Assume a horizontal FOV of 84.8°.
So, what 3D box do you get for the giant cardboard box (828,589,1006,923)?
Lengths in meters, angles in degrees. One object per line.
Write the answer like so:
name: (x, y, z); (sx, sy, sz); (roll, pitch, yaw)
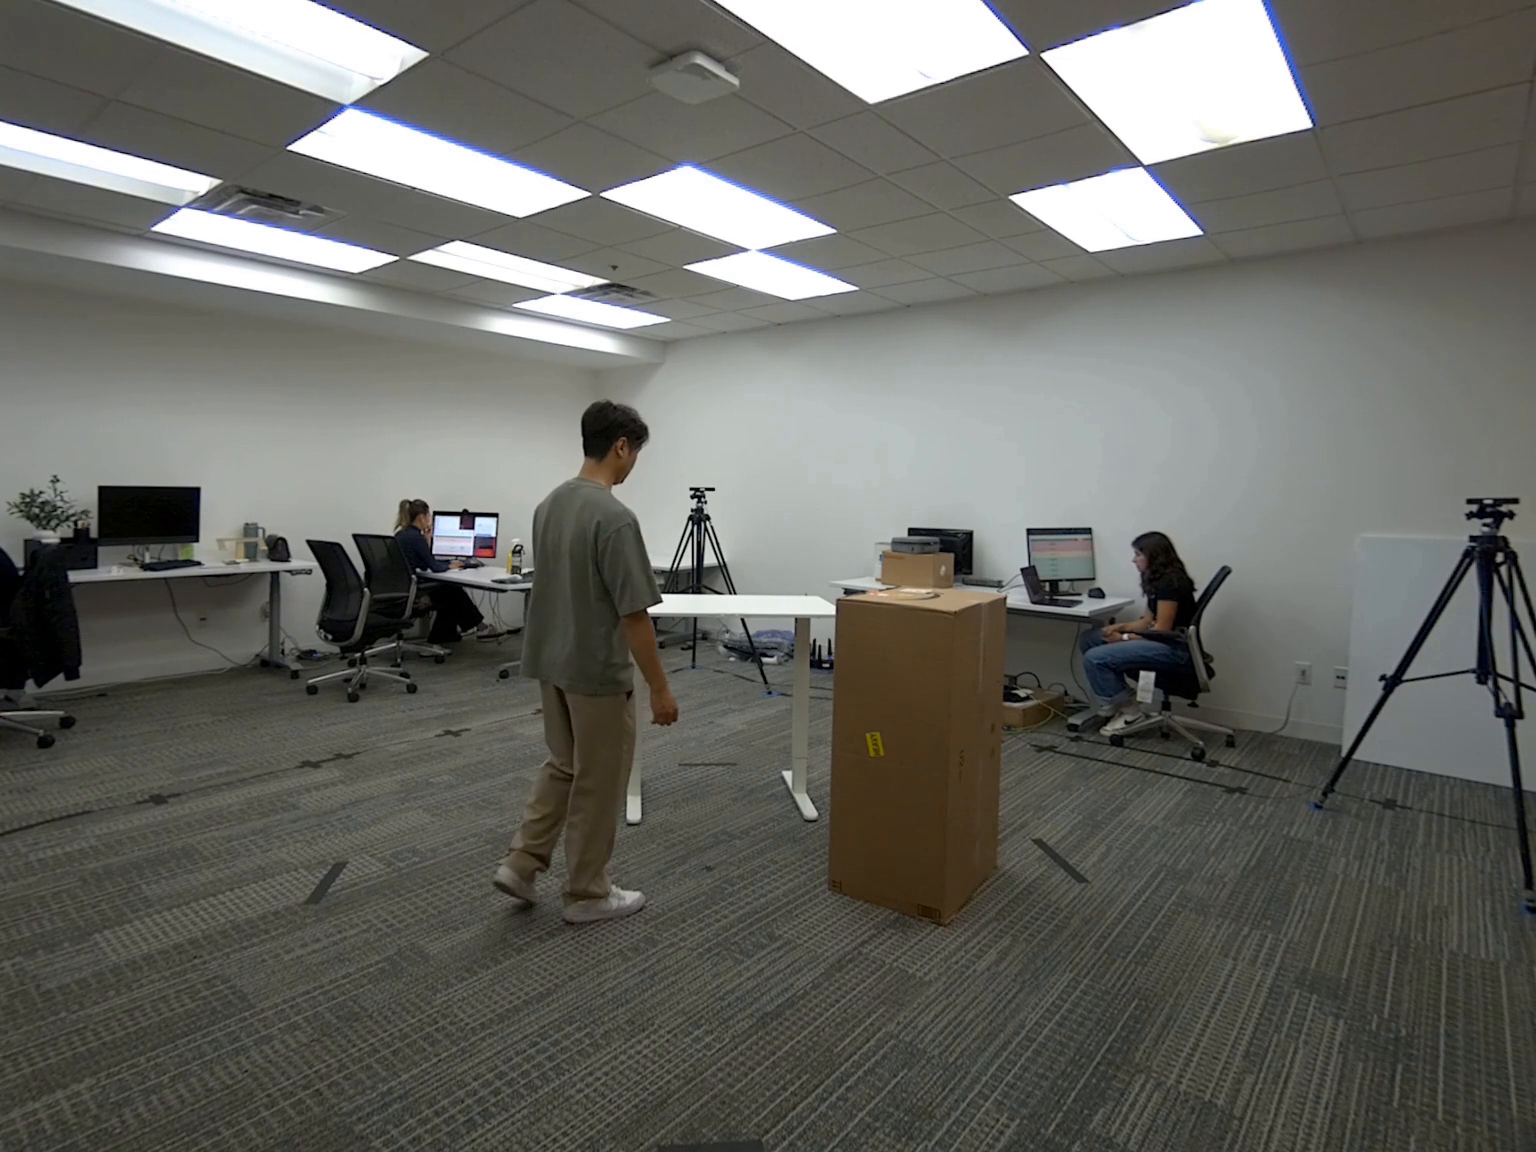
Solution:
giant cardboard box: (0.539, 0.579, 3.060); (0.439, 1.023, 0.562); (3, 4, 32)
